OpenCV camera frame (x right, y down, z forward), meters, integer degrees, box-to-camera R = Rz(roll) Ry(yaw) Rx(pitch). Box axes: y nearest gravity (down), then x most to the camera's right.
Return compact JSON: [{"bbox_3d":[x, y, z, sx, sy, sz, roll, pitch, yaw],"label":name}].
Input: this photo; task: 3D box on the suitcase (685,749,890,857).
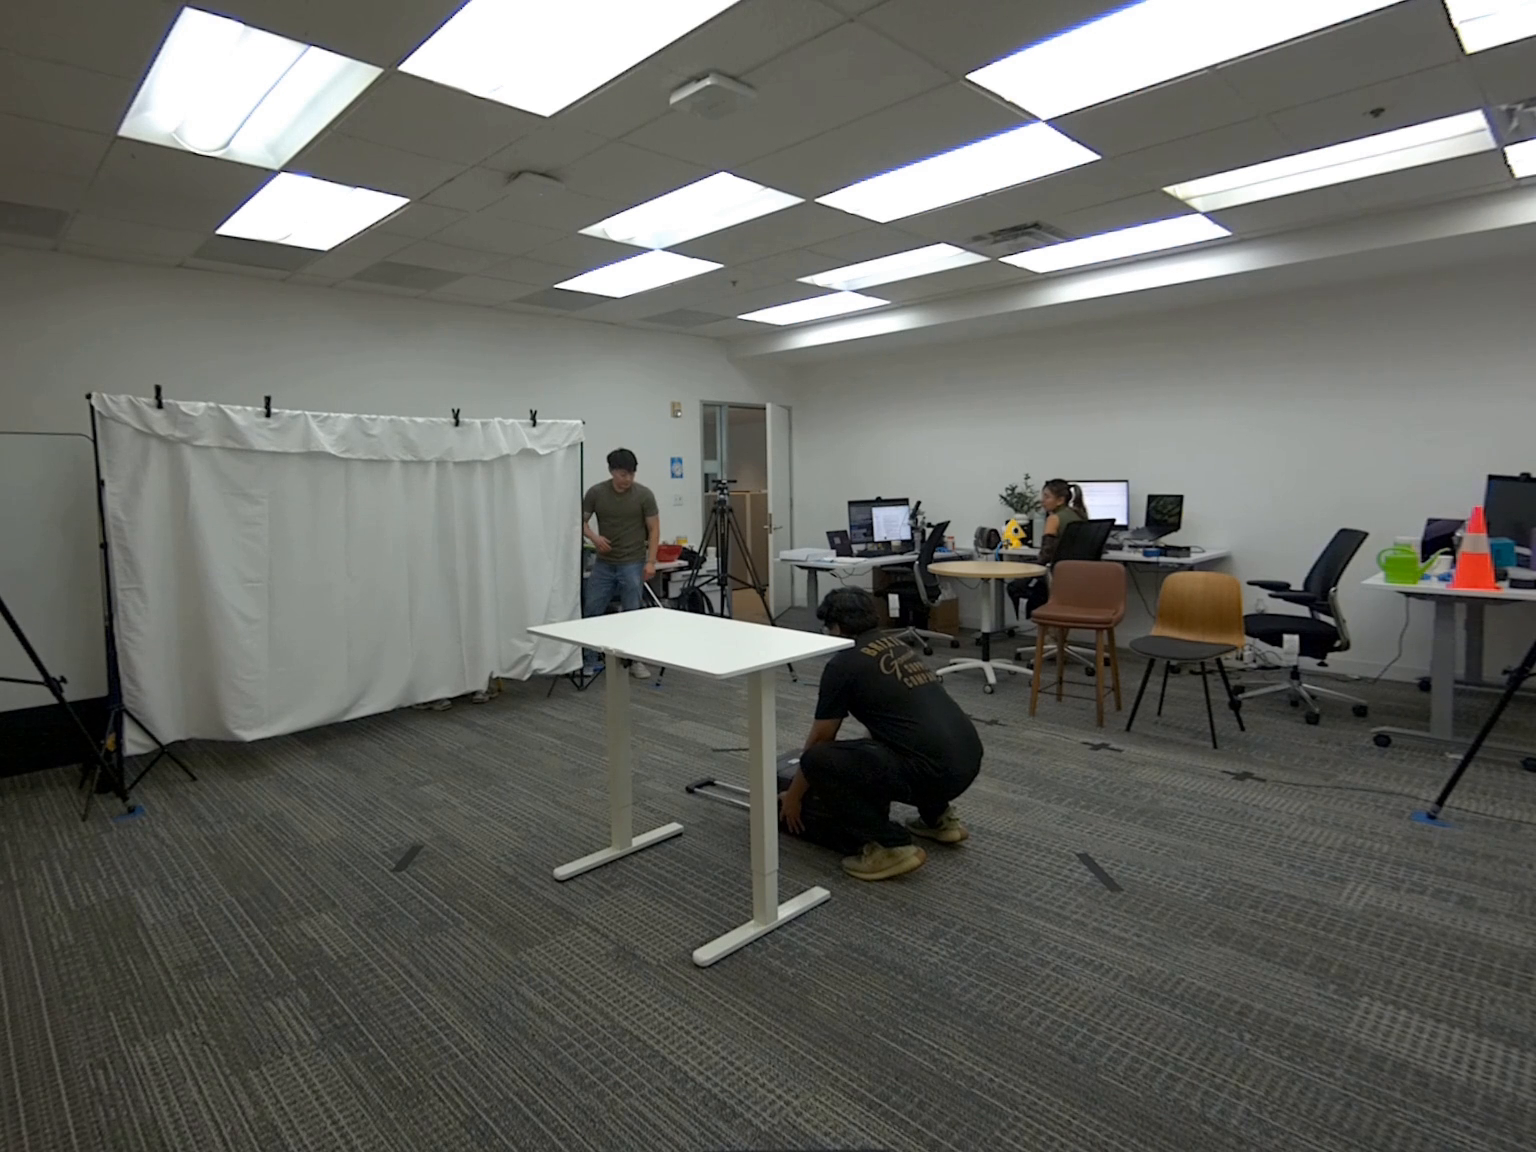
[{"bbox_3d":[0.058,0.872,3.577,1.010,0.255,0.374,7,10,40],"label":"suitcase"}]
